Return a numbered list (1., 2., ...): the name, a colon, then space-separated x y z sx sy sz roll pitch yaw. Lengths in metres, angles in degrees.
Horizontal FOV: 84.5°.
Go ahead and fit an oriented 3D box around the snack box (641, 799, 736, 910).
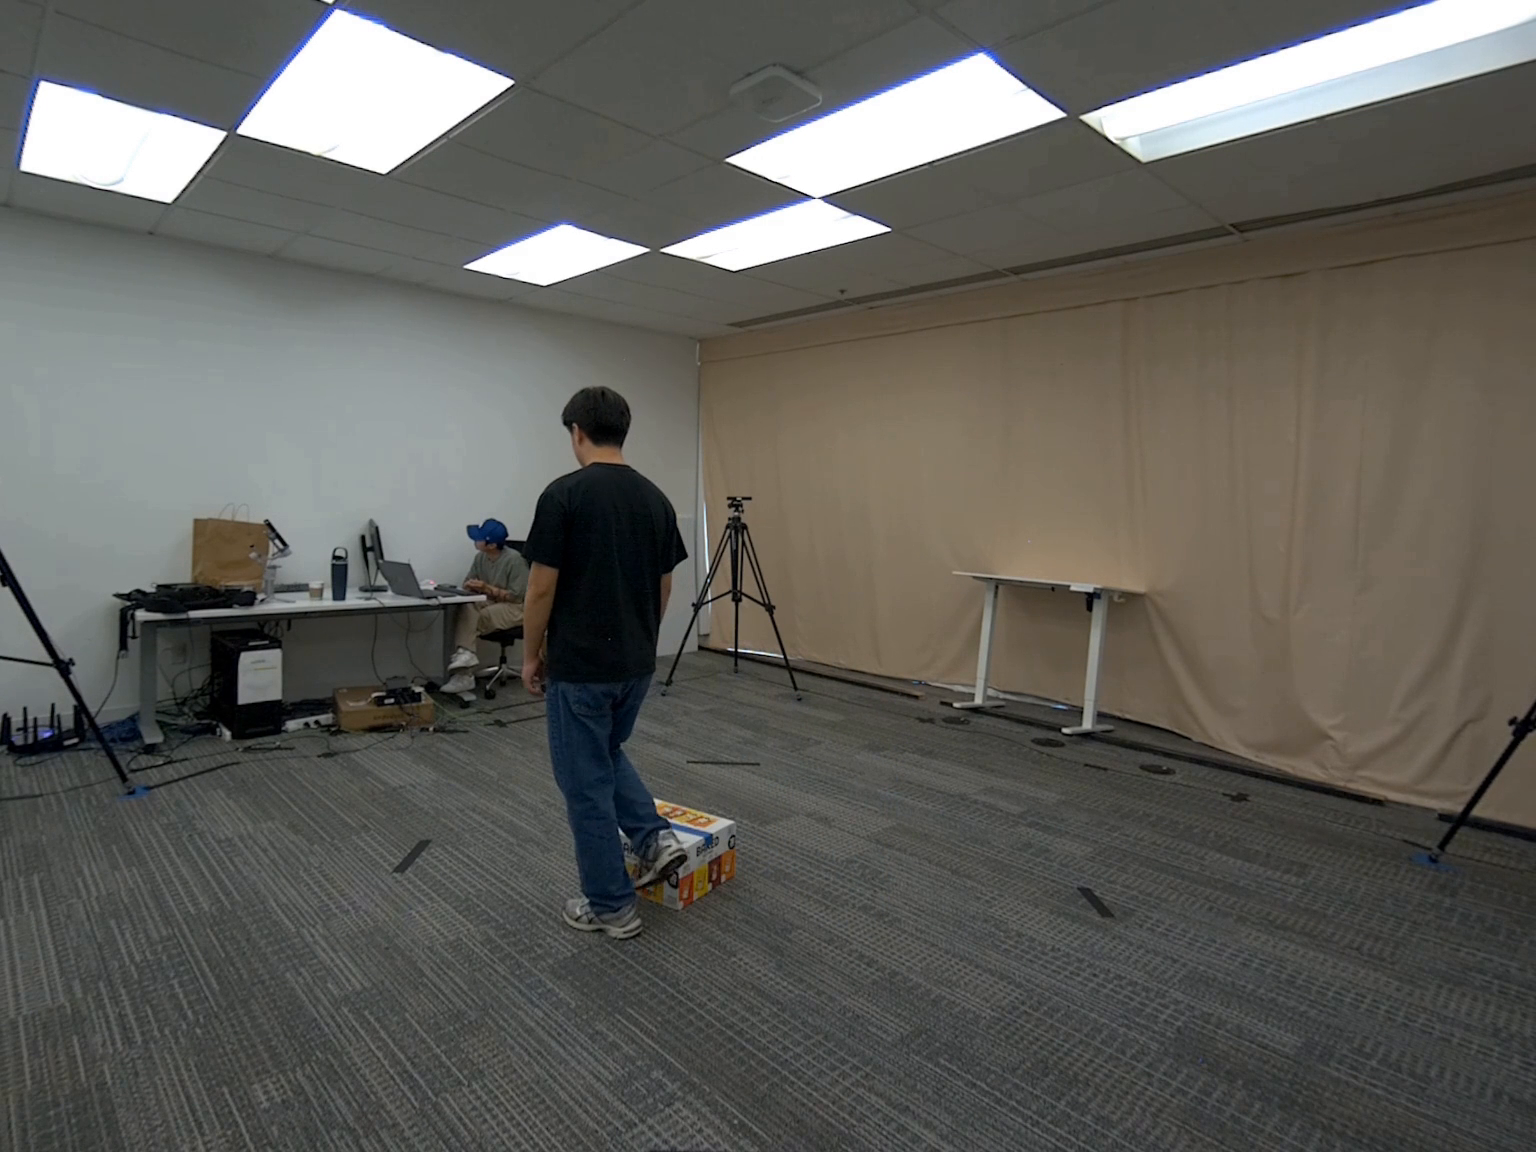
1. snack box: -0.386 1.005 3.072 0.415 0.205 0.333 5 6 33
